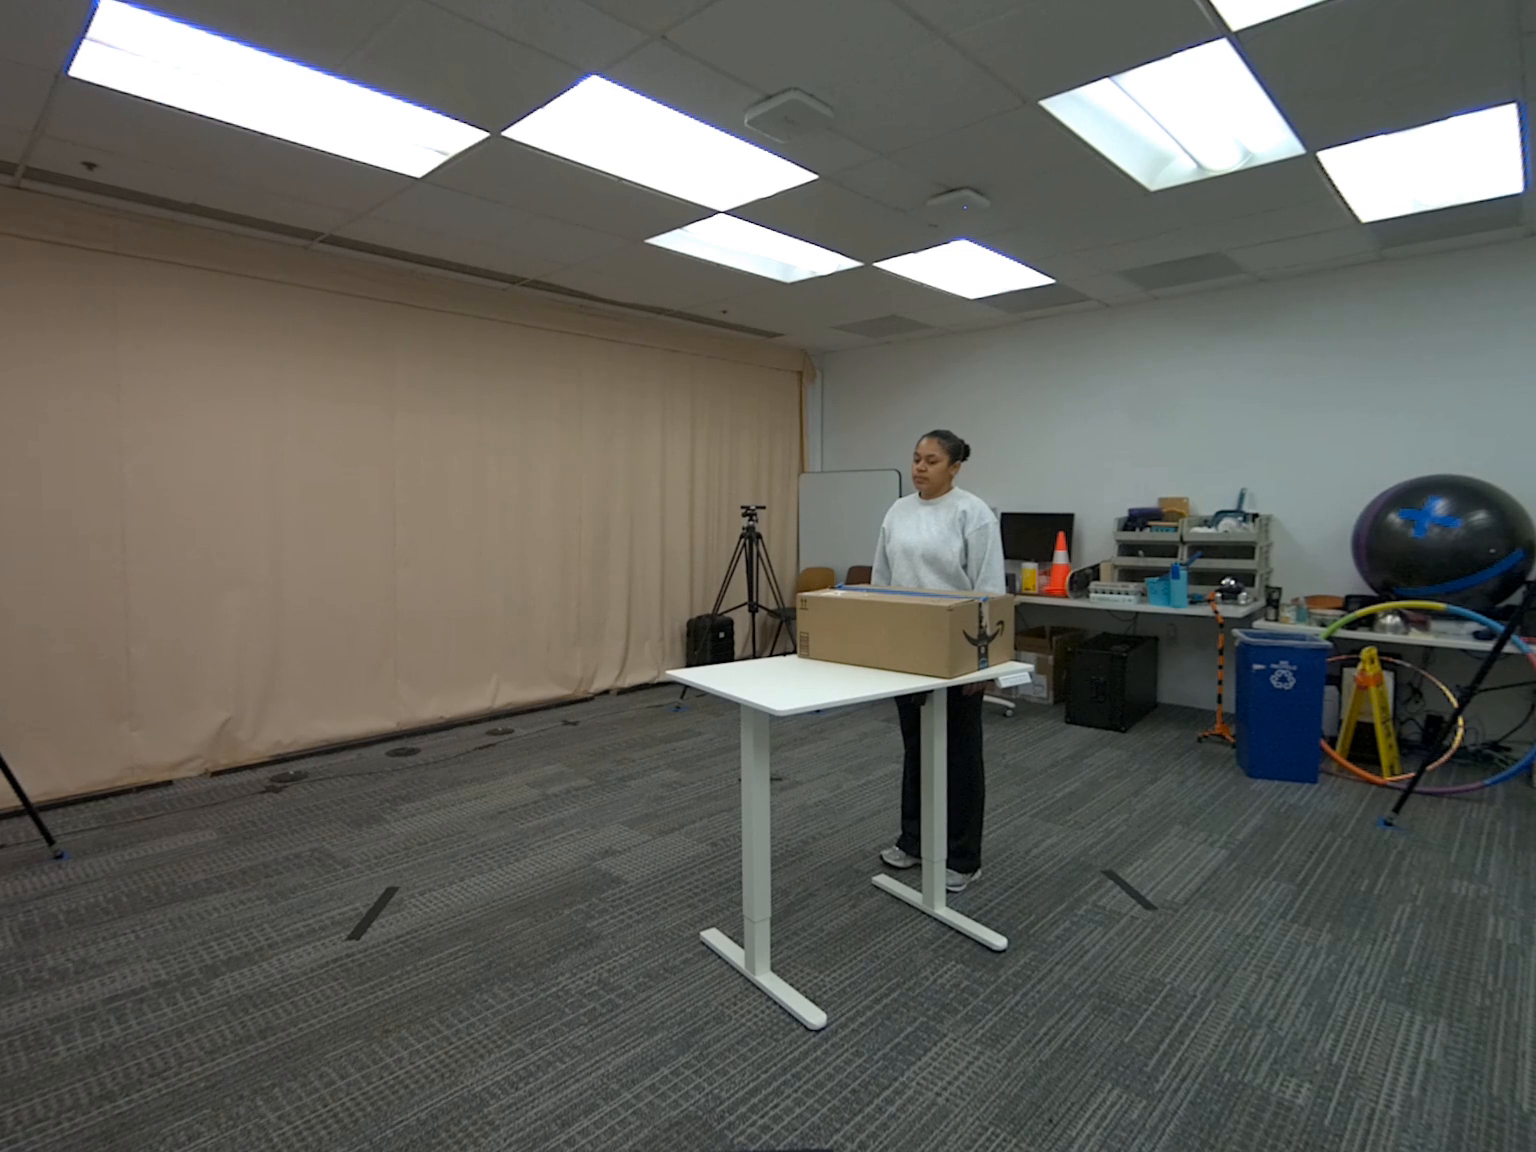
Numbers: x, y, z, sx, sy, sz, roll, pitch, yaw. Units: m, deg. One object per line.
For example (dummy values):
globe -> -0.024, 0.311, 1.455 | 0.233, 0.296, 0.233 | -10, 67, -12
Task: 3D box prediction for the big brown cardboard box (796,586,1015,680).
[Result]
big brown cardboard box -> 0.449, 0.167, 2.787 | 0.609, 0.232, 0.405 | 5, 7, 42
